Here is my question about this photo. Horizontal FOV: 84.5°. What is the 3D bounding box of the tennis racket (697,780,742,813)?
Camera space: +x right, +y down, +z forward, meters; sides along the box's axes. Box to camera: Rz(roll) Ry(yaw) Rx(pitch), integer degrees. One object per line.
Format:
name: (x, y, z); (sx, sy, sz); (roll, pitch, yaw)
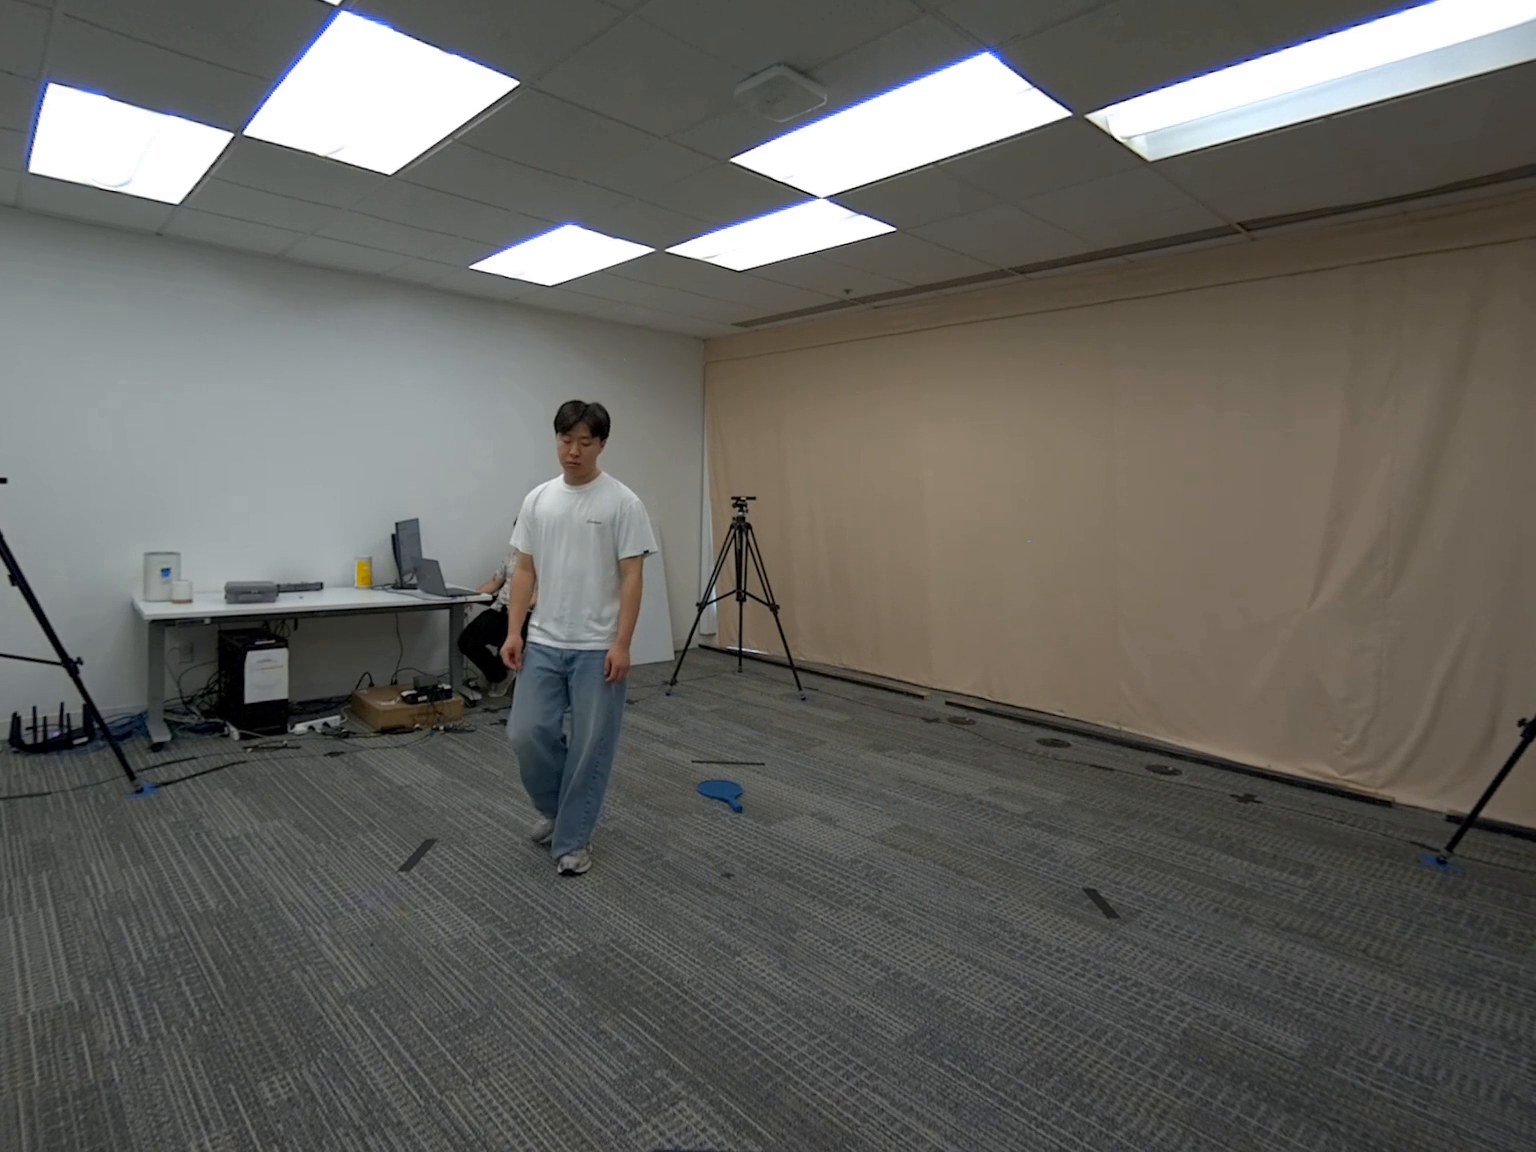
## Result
tennis racket: (-0.216, 1.016, 3.939); (0.211, 0.032, 0.439); (0, 4, -18)
